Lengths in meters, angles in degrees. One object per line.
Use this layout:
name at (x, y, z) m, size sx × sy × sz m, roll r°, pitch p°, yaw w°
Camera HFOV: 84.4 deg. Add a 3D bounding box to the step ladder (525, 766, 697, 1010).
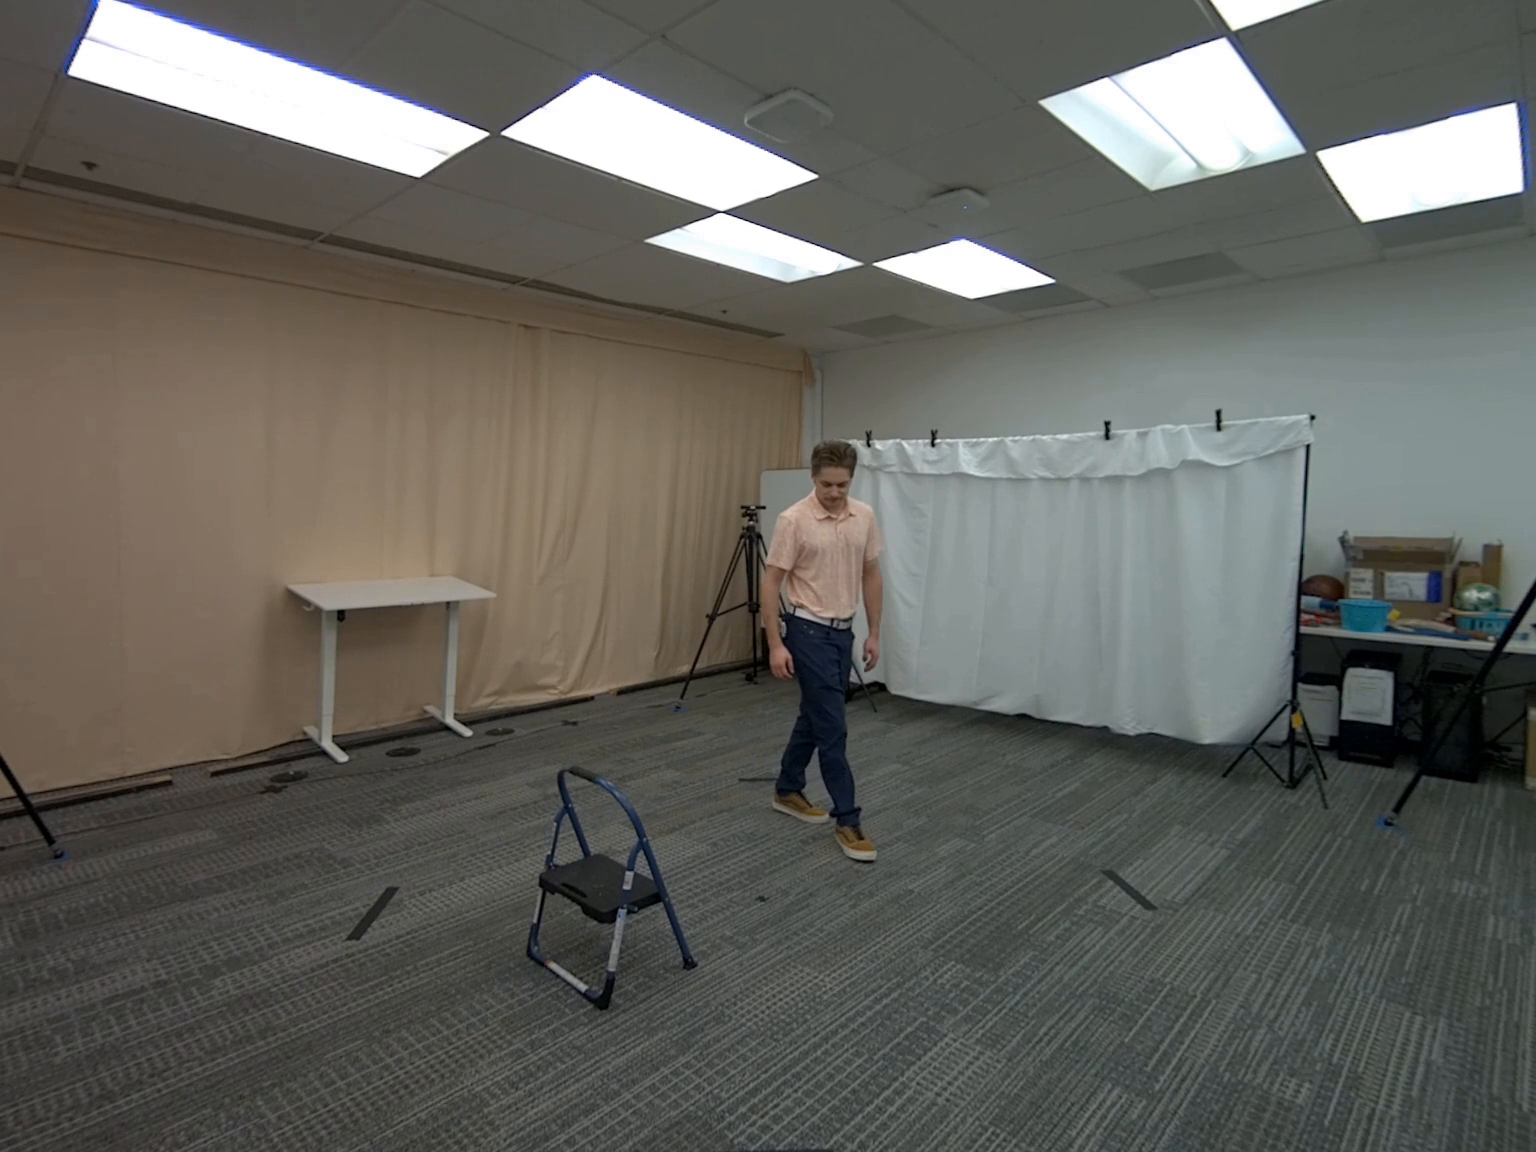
step ladder at (-0.488, 0.888, 2.568) m, size 0.445 × 0.605 × 0.338 m, roll 1°, pitch 3°, yaw 44°
